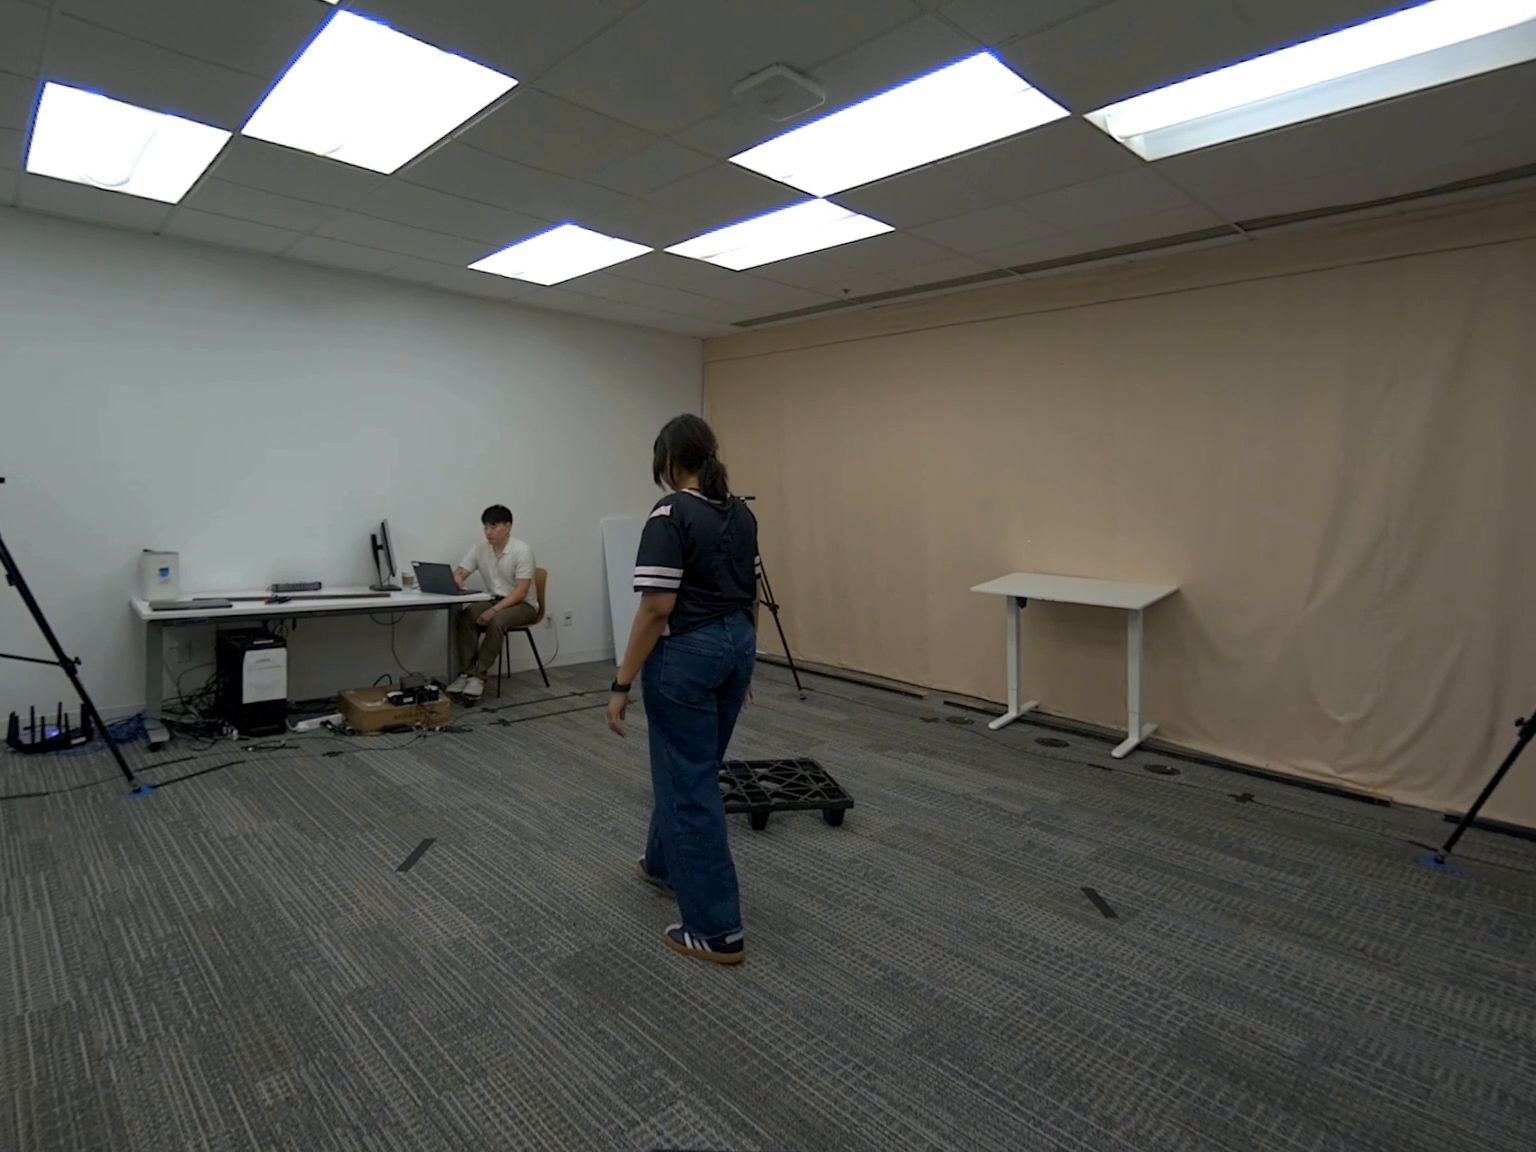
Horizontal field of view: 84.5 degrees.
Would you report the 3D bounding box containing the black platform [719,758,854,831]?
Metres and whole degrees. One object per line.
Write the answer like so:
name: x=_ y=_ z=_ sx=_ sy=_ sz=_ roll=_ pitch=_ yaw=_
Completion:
black platform: x=-0.096 y=0.982 z=3.762 sx=0.798 sy=0.143 sz=0.613 roll=0 pitch=5 yaw=-12
